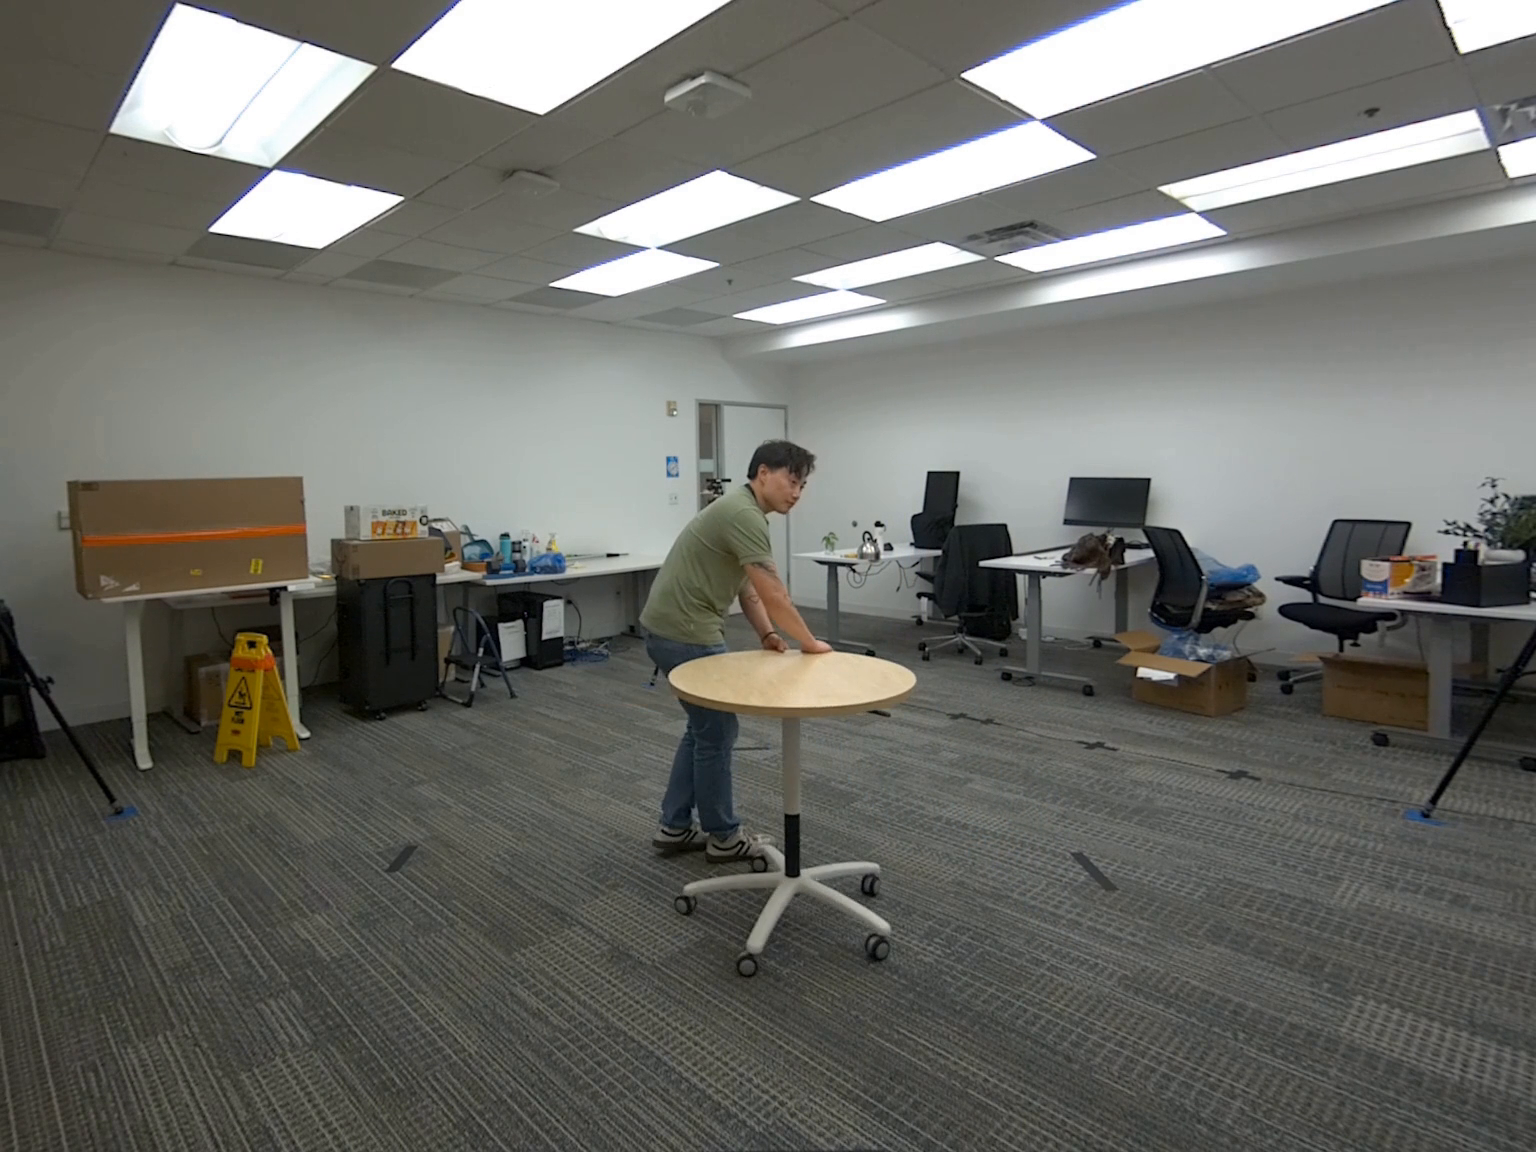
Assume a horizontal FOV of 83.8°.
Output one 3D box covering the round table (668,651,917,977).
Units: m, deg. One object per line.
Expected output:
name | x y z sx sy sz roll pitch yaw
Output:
round table | 0.080 0.699 2.698 0.763 0.790 0.768 0 5 -2
